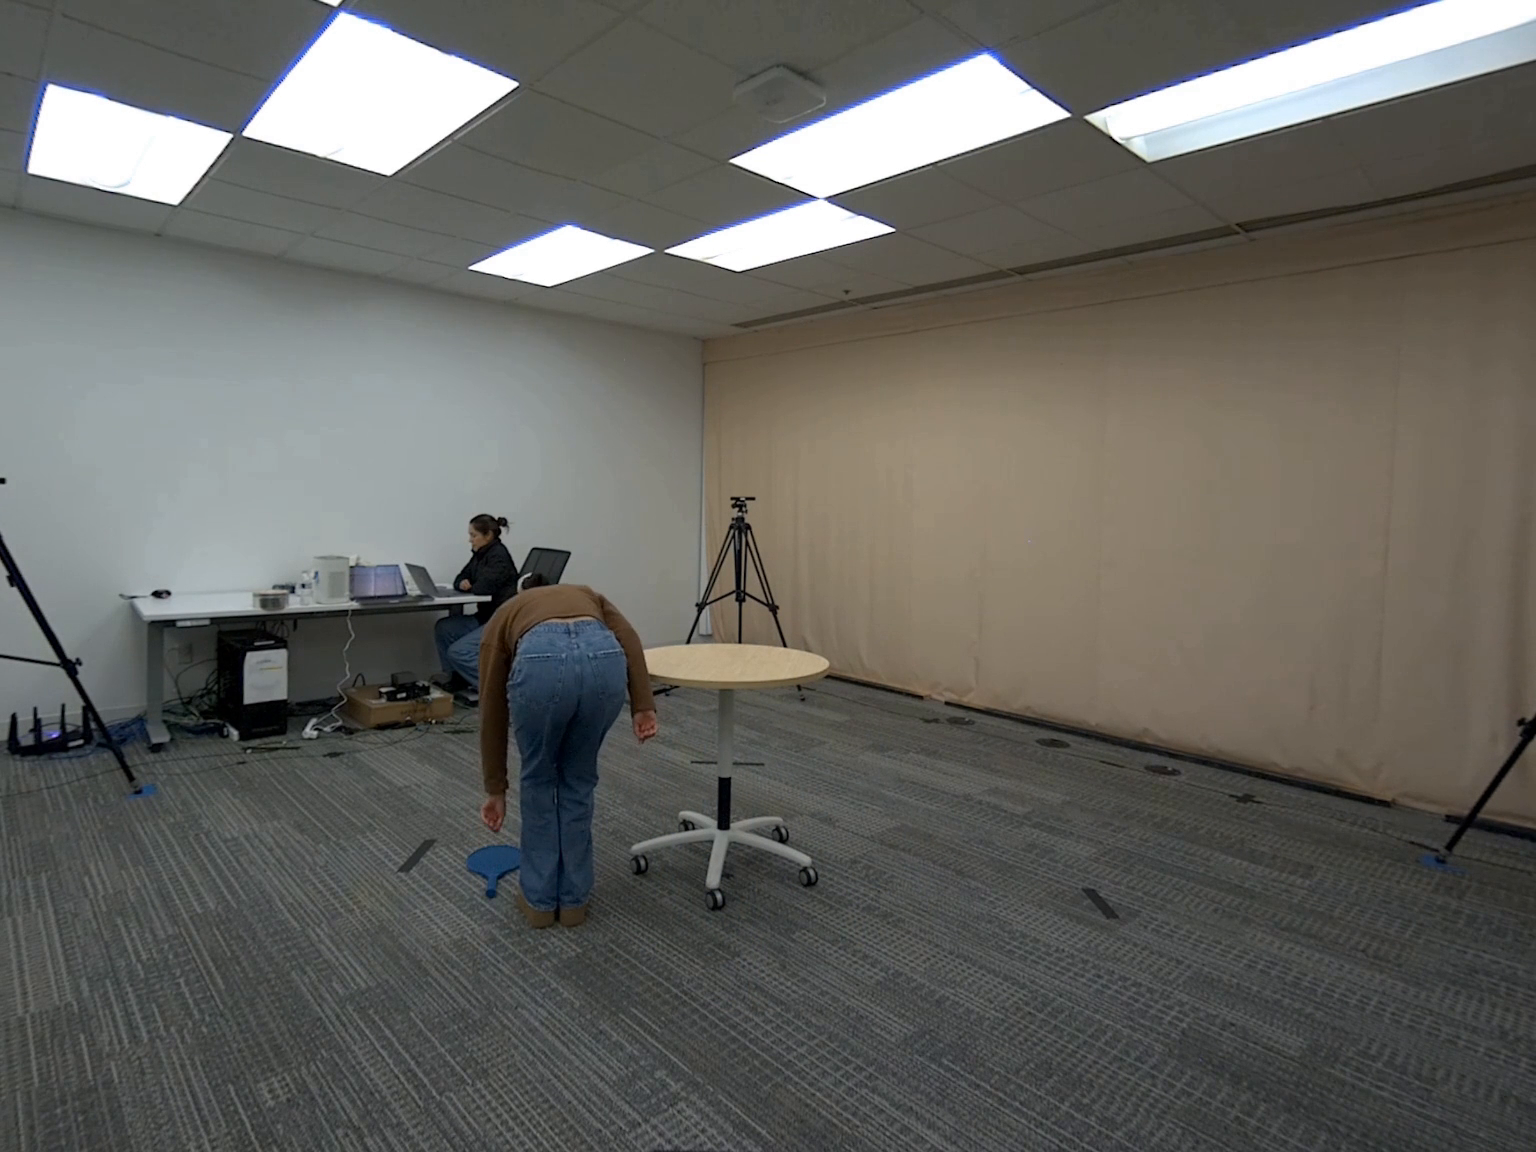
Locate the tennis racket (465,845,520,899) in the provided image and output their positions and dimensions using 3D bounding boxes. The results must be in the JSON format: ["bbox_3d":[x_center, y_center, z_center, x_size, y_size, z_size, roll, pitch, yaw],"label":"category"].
[{"bbox_3d":[-1.001,1.067,3.094,0.211,0.032,0.439,-1,4,-16],"label":"tennis racket"}]
